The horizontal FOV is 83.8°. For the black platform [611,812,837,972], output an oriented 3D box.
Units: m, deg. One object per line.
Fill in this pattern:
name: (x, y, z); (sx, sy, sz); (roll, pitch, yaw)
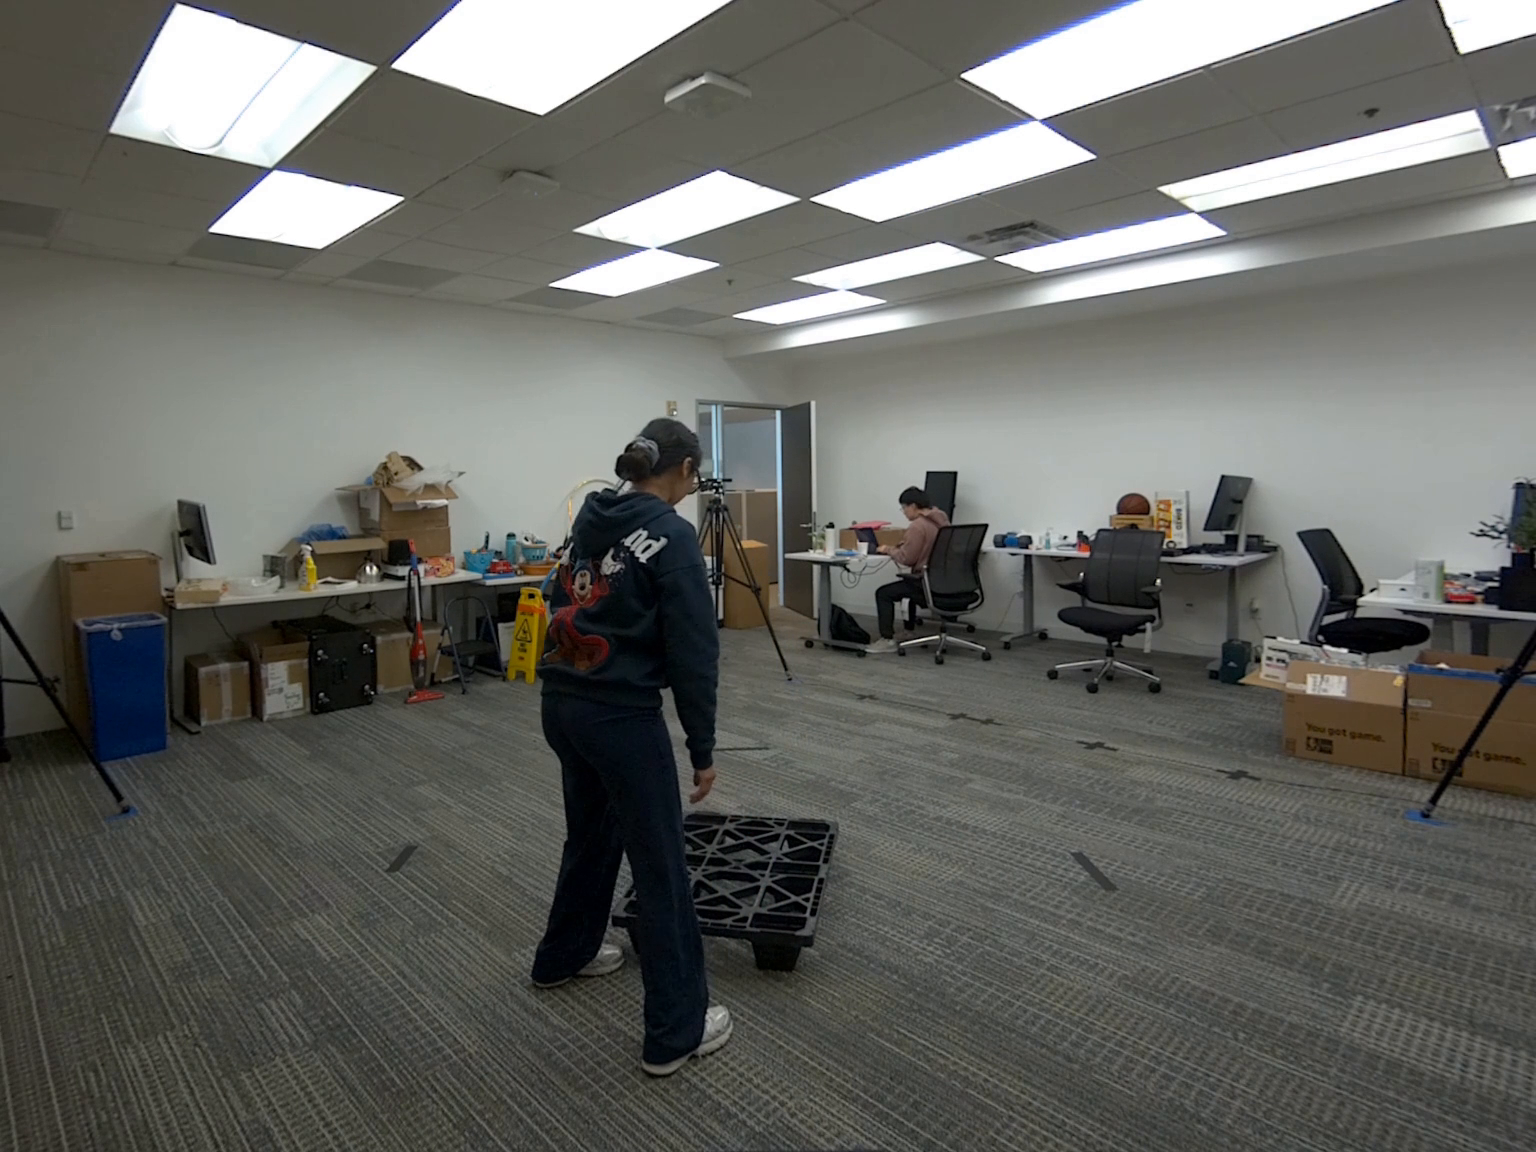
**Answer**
black platform: (-0.100, 1.012, 2.816); (0.612, 0.142, 0.800); (0, 7, 11)
